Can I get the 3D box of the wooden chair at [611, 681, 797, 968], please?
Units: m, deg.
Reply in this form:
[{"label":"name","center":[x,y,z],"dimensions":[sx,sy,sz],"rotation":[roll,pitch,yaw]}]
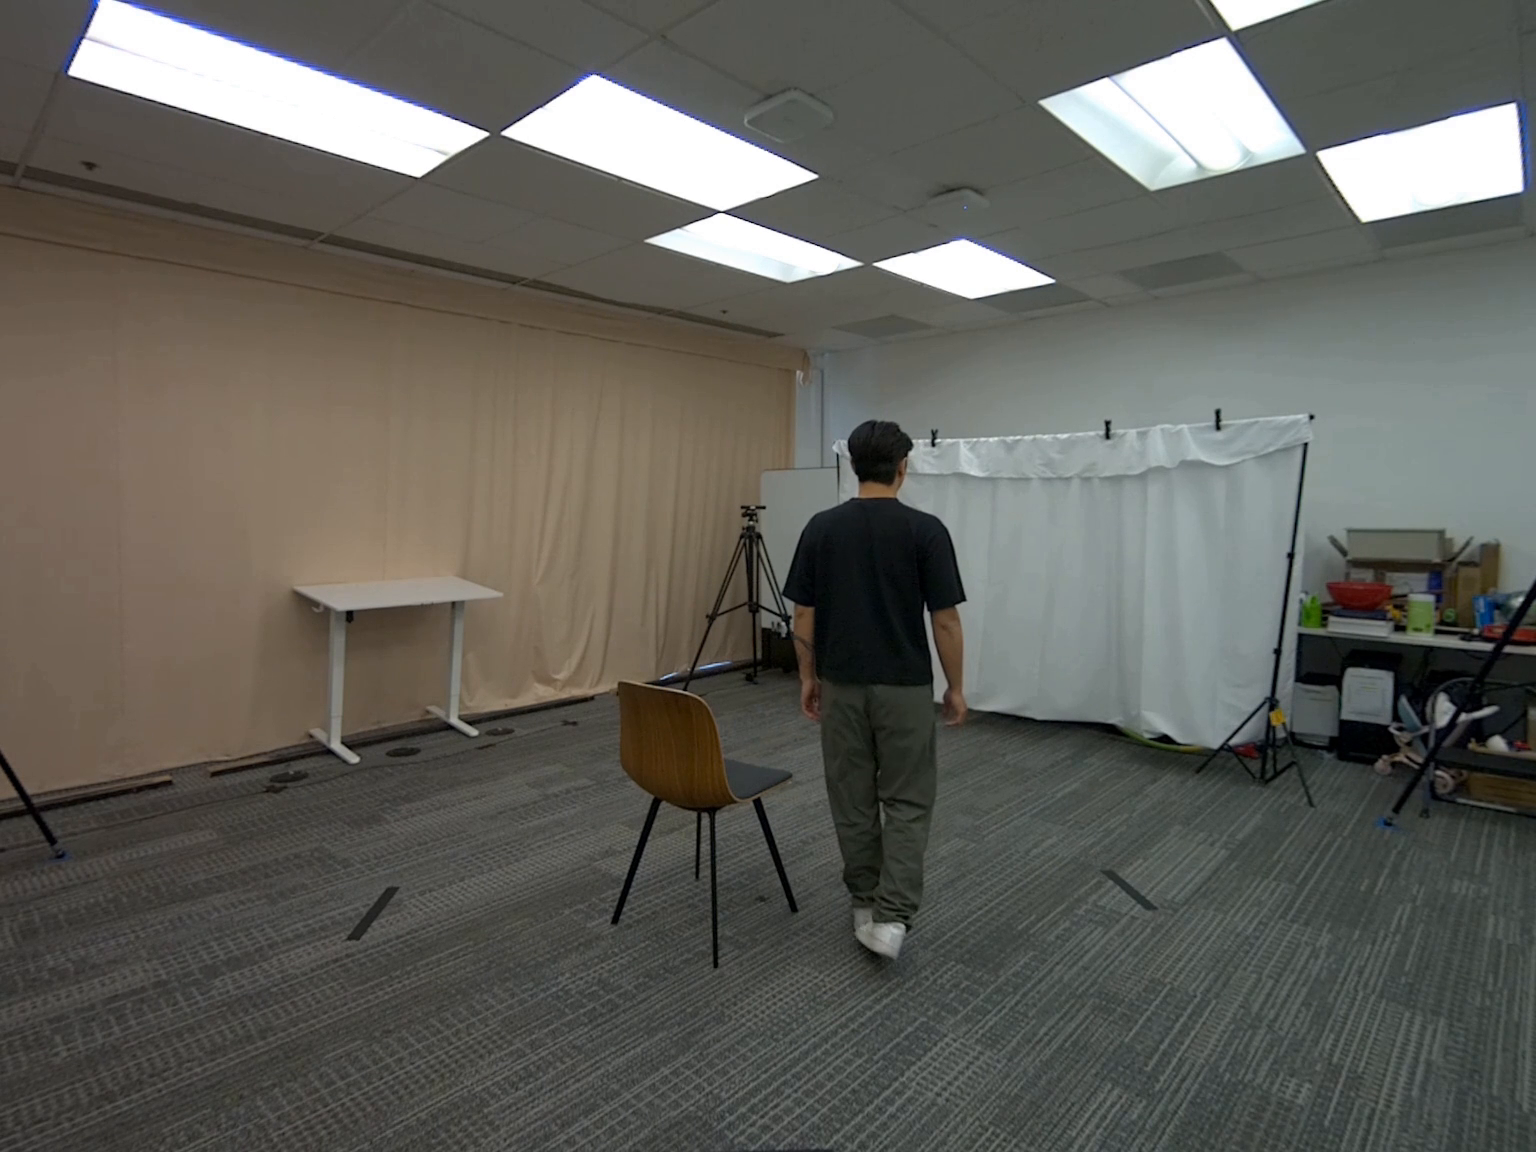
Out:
[{"label":"wooden chair","center":[-0.209,0.730,2.829],"dimensions":[0.493,0.874,0.509],"rotation":[2,8,37]}]
